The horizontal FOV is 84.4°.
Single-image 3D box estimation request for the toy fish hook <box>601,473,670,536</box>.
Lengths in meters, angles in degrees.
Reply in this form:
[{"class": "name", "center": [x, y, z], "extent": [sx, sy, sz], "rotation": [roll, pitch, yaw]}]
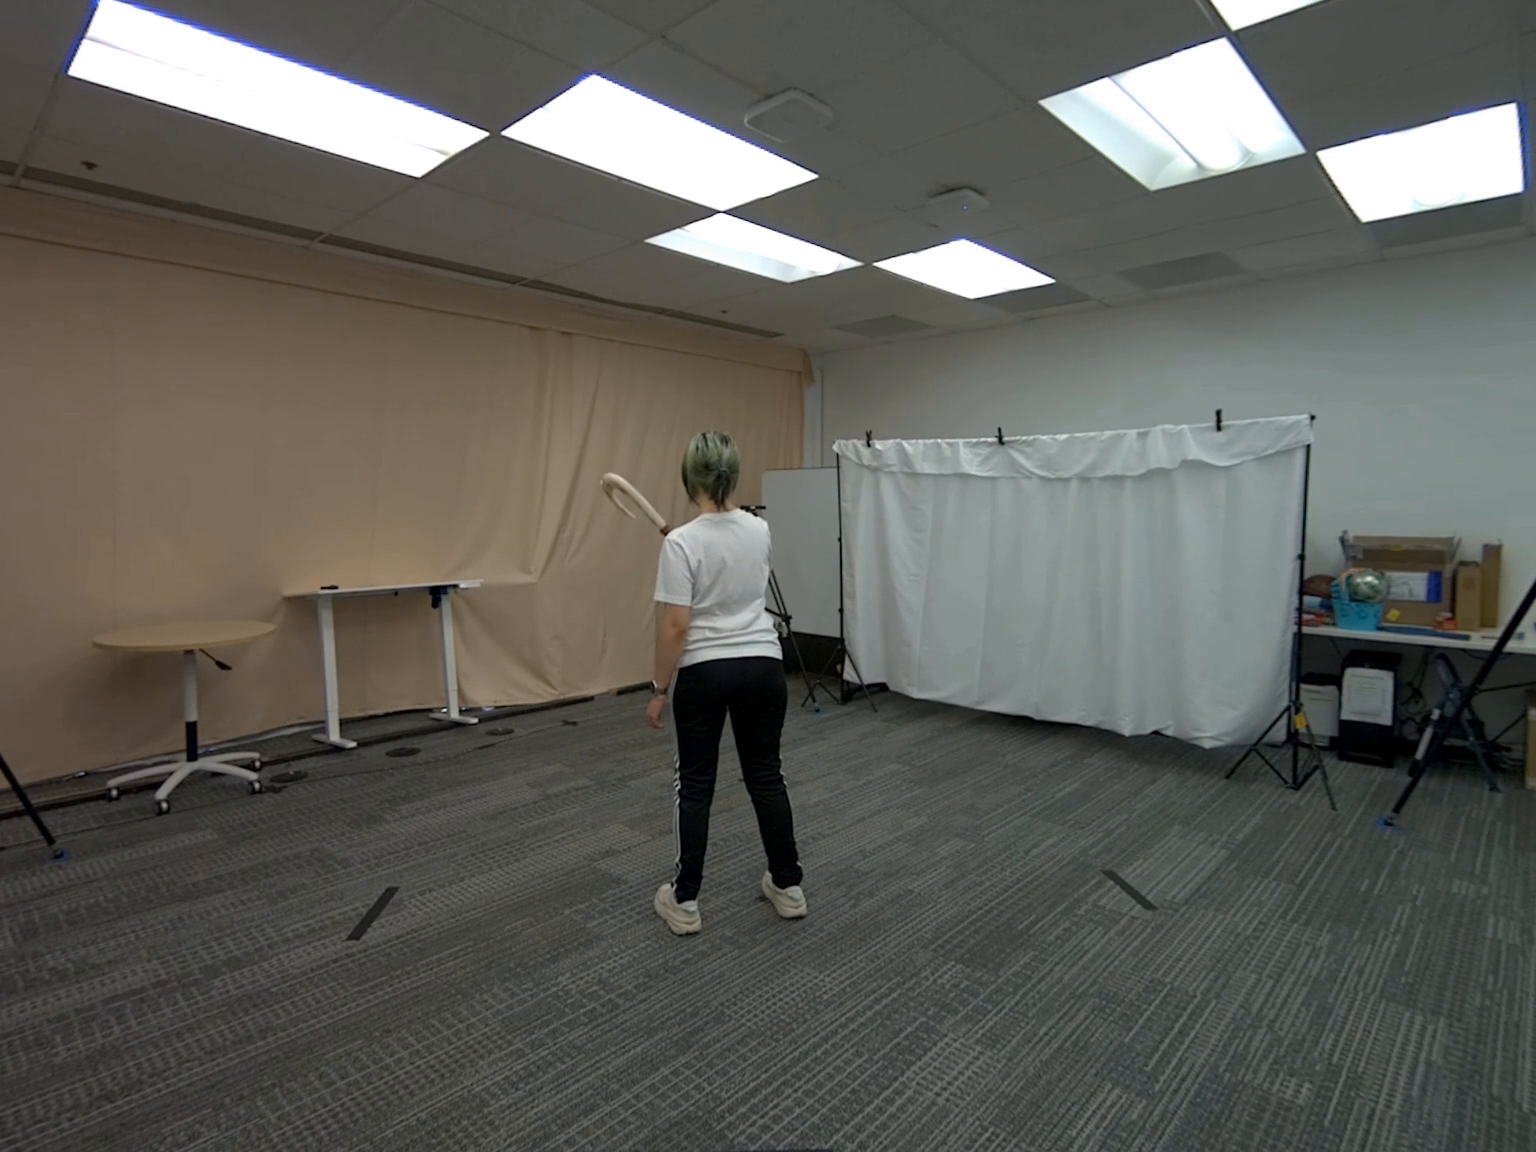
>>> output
[{"class": "toy fish hook", "center": [-0.455, -0.199, 3.307], "extent": [0.048, 0.508, 0.225], "rotation": [-45, -2, -24]}]
